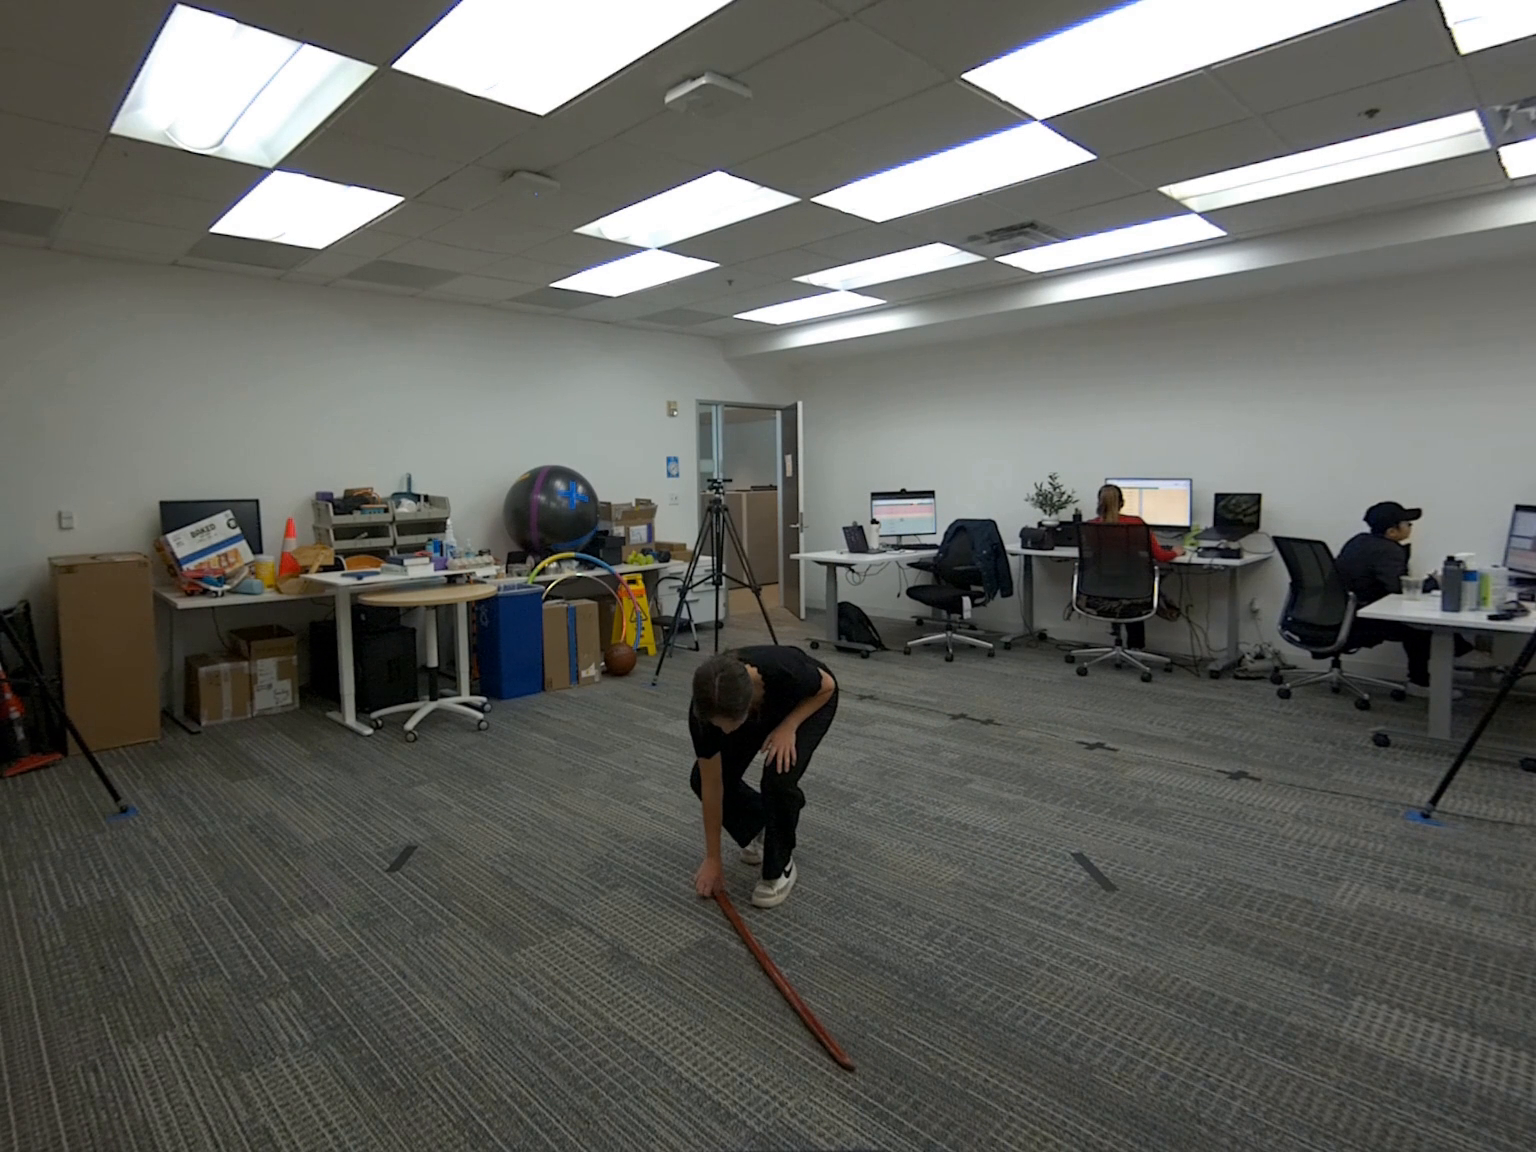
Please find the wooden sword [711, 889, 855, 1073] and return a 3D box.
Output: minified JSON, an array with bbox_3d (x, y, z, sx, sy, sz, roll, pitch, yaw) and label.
[{"bbox_3d":[-0.014,1.105,2.477,0.050,0.024,1.049,-13,11,-22],"label":"wooden sword"}]
